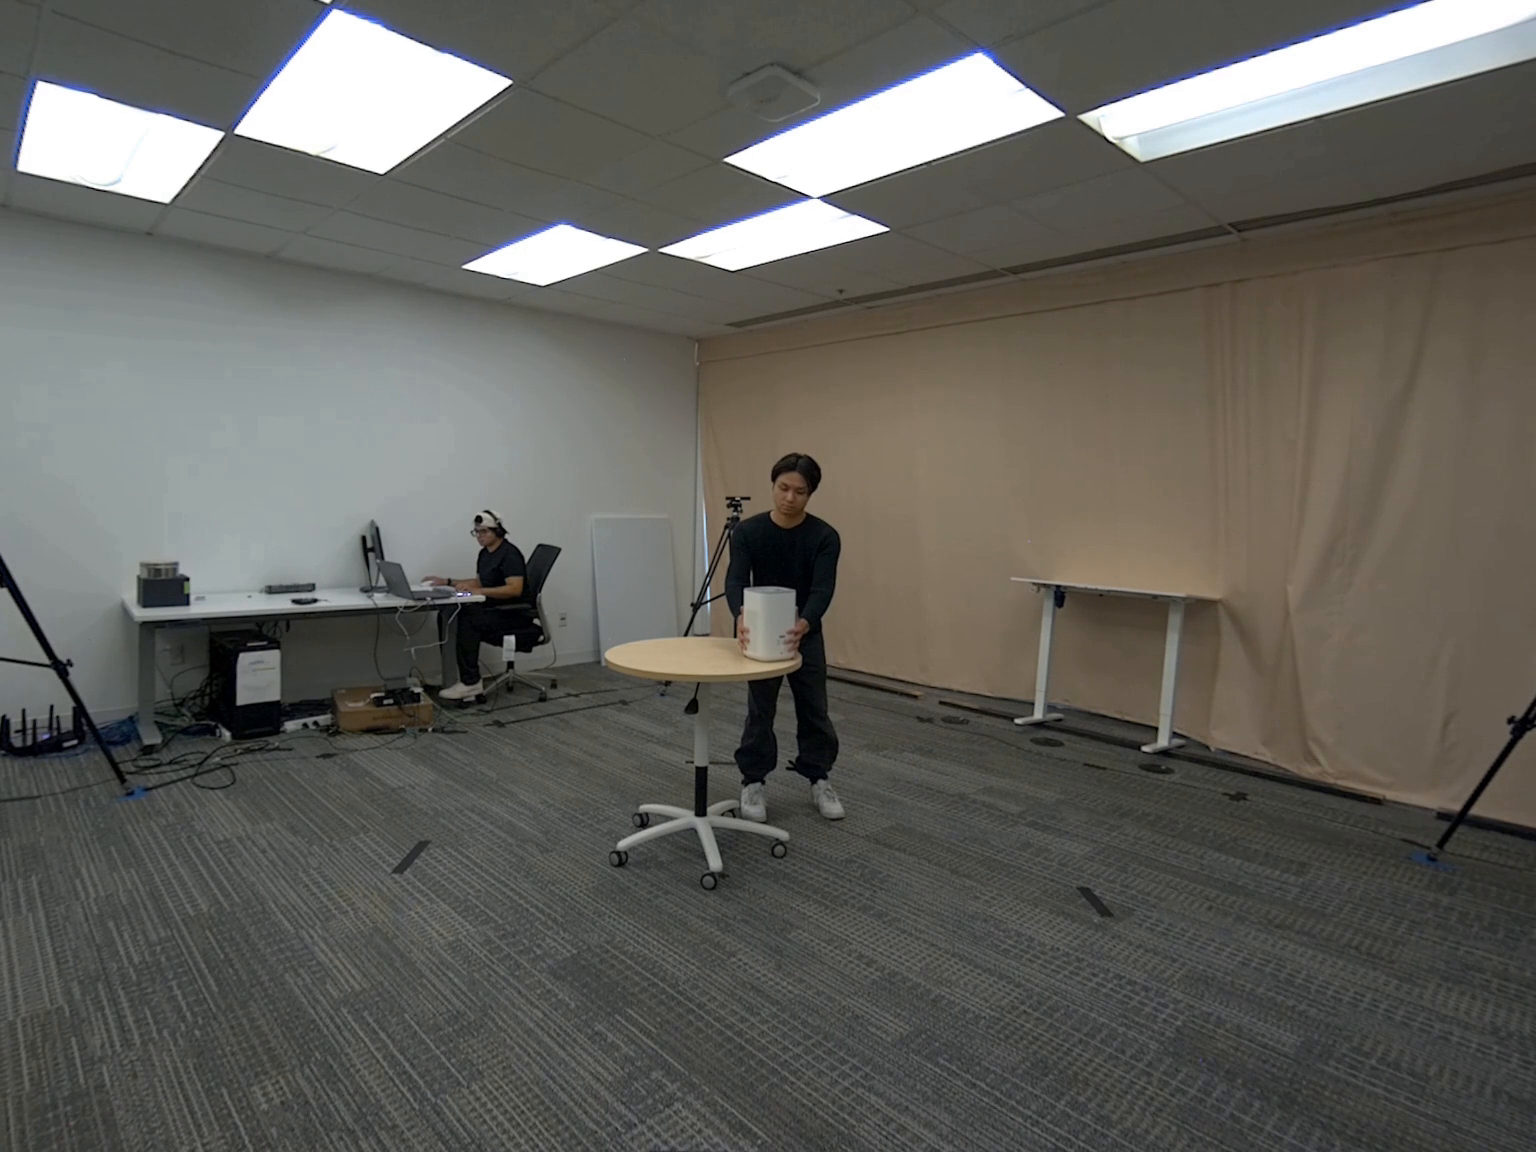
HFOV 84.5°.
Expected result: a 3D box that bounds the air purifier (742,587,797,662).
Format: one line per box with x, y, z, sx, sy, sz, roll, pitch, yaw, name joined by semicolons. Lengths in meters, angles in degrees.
-0.013;0.184;3.217;0.167;0.265;0.176;-1;4;-35;air purifier
